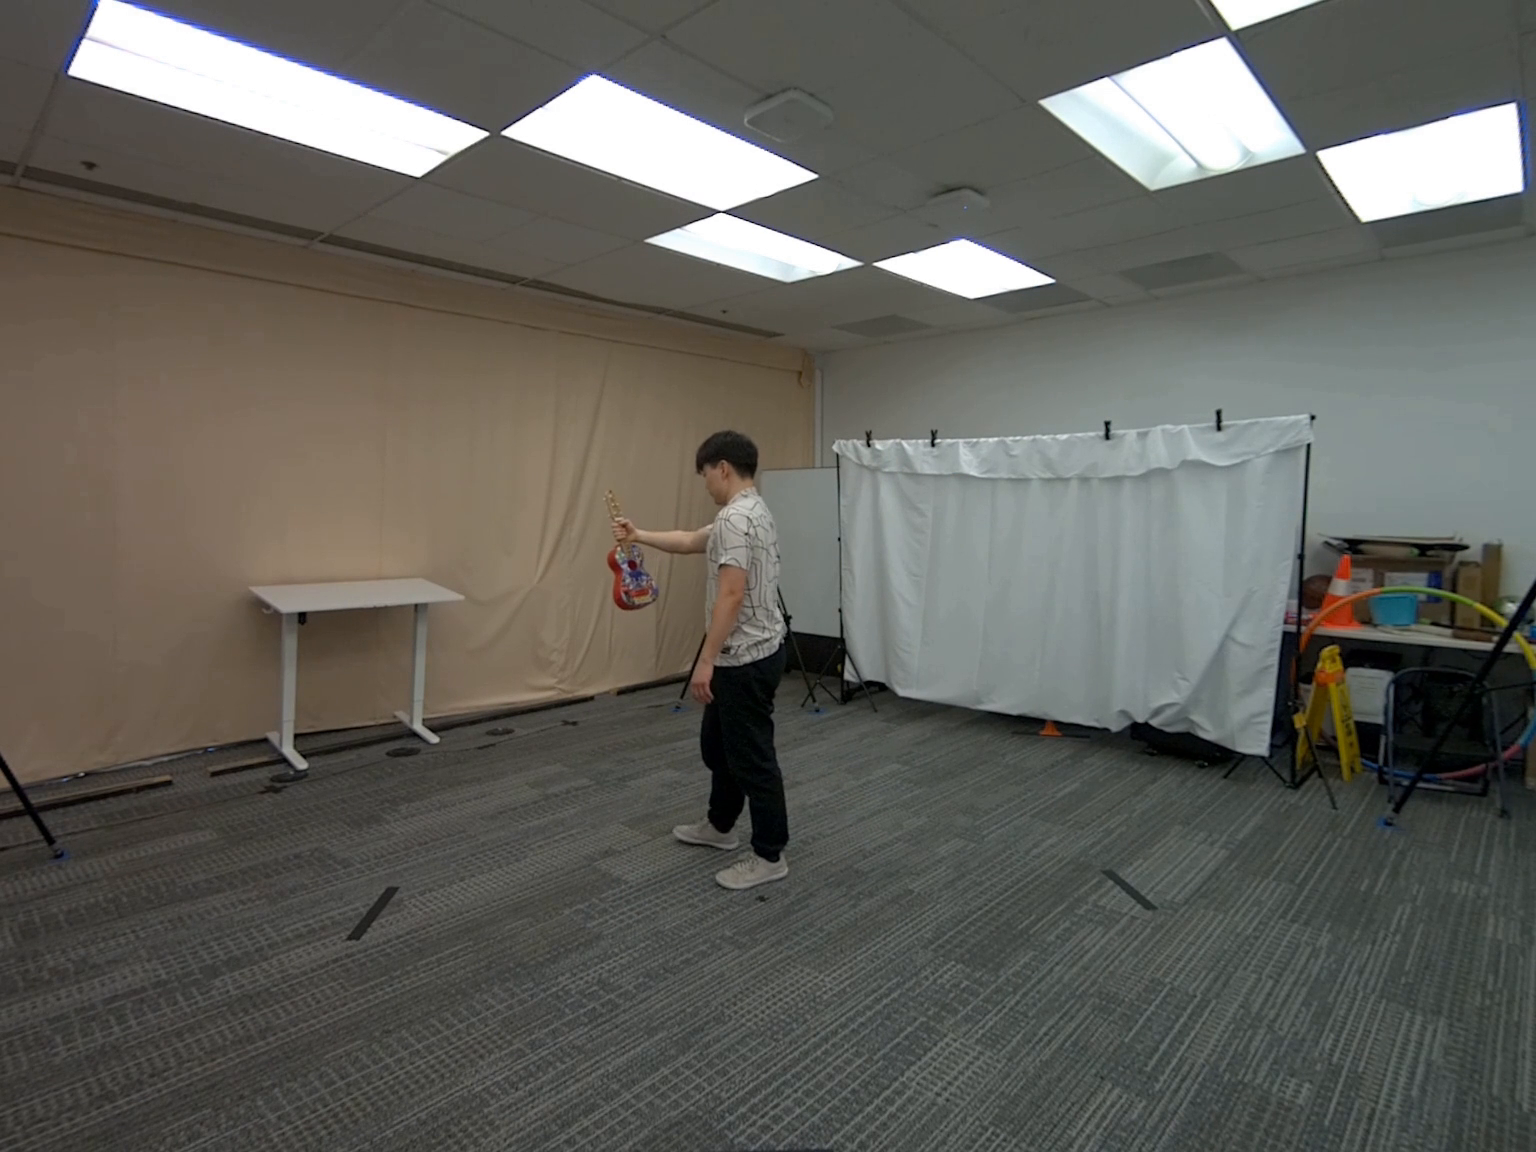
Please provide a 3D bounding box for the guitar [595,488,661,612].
[{"bbox_3d":[-0.579,-0.109,3.478,0.187,0.504,0.072,3,-20,-42],"label":"guitar"}]
